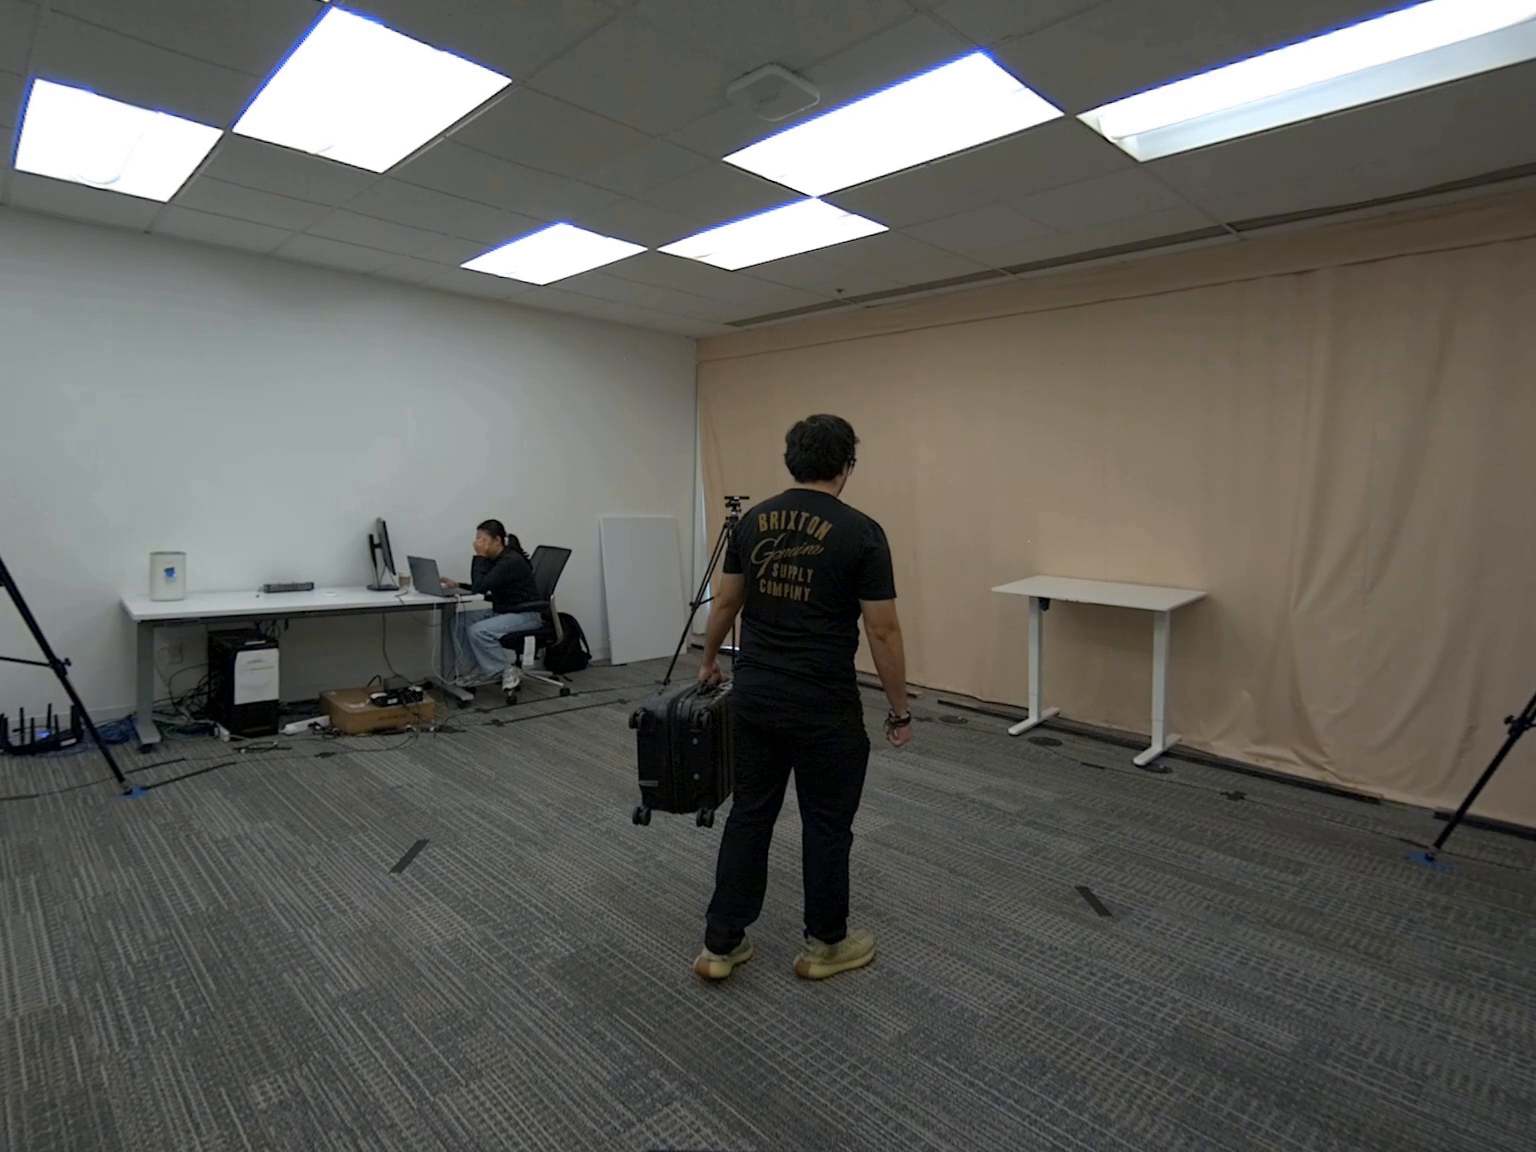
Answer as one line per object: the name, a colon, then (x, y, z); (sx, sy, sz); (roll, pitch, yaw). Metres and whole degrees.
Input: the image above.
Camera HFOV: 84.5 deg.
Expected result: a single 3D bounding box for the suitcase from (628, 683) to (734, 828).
suitcase: (-0.192, 0.546, 2.983); (0.260, 0.384, 0.968); (-3, 1, 13)
